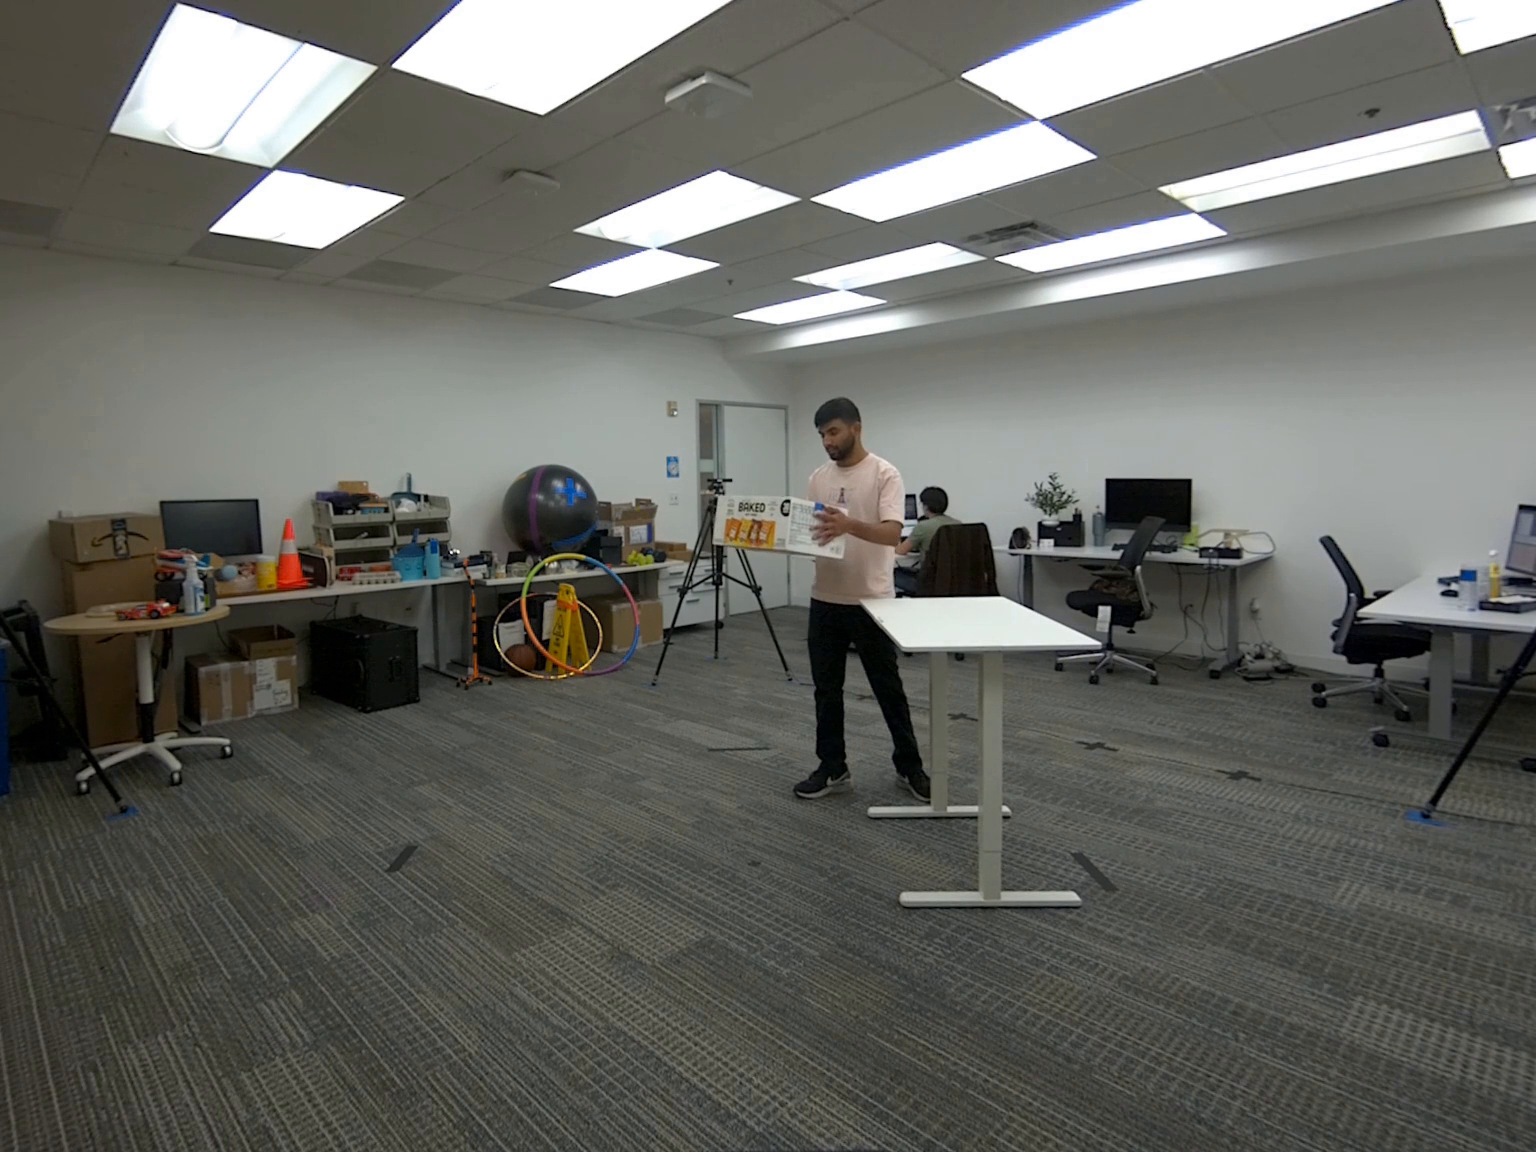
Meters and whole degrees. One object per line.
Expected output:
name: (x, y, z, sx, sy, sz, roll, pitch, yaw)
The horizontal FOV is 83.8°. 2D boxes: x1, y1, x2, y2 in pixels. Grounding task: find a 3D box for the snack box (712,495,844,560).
snack box: (0.056, -0.199, 3.434, 0.329, 0.206, 0.418, 7, -1, -45)
